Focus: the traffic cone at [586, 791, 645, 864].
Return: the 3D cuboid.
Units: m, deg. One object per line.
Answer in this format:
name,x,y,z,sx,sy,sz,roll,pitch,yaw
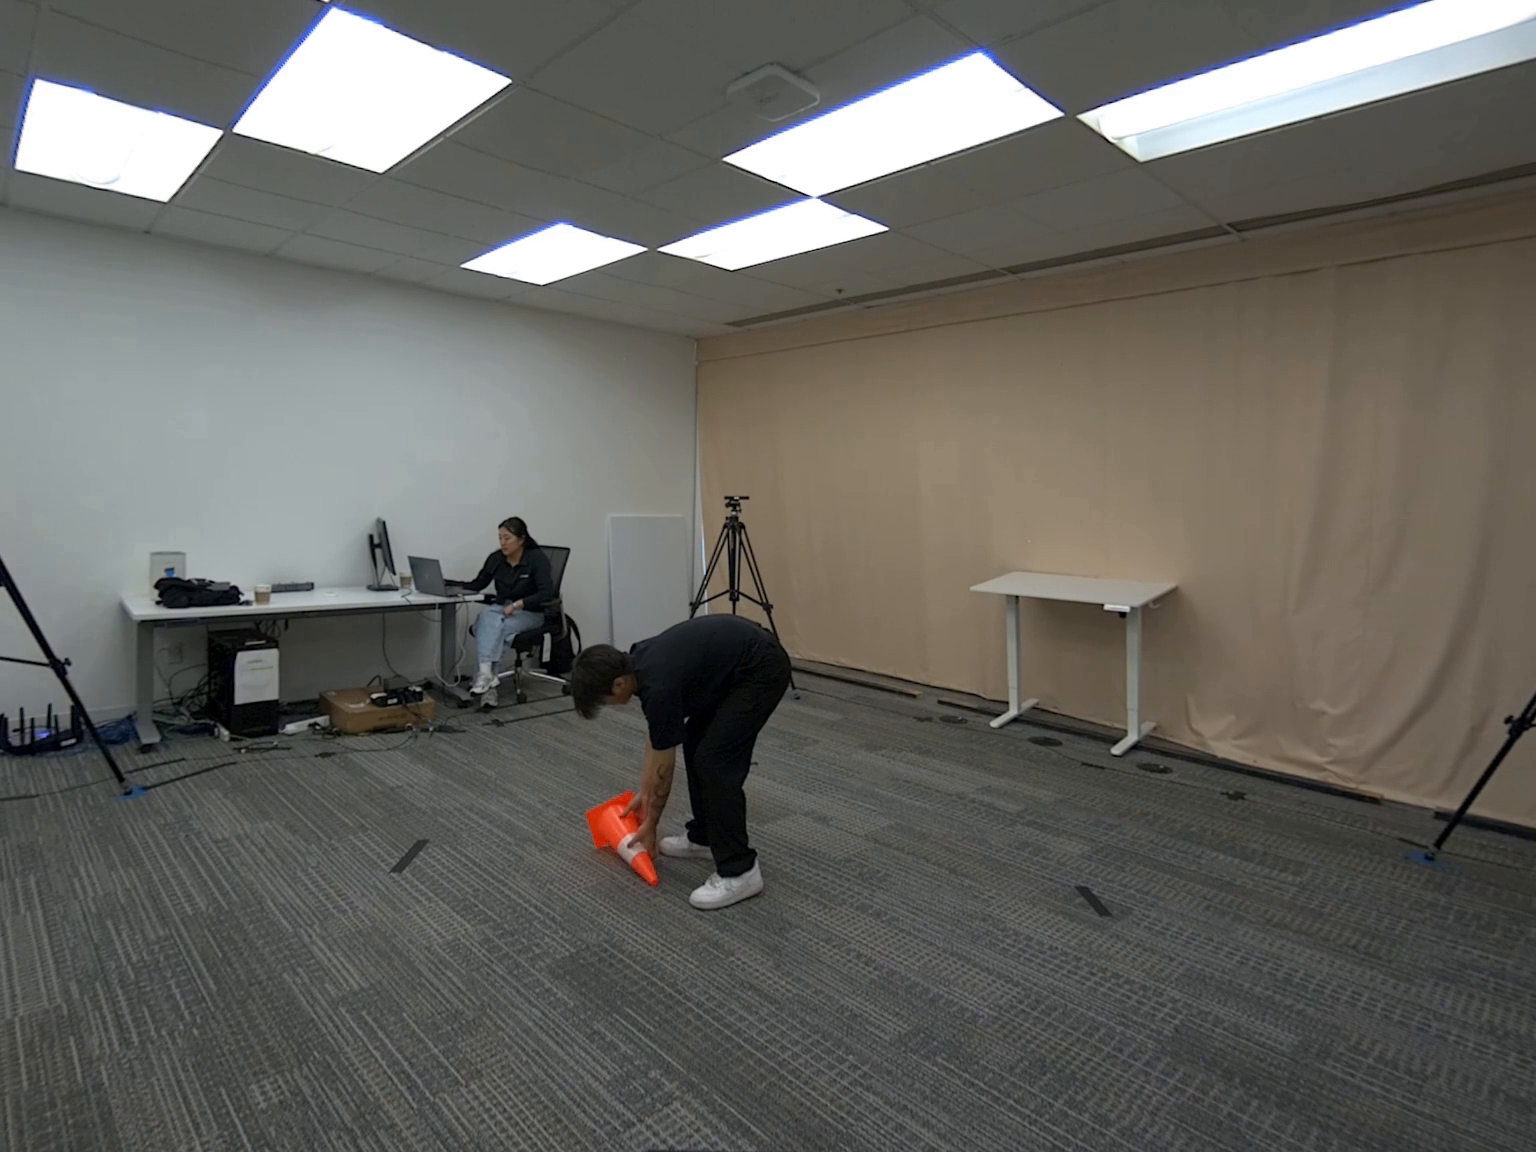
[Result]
traffic cone,-0.525,1.030,3.154,0.203,0.199,0.395,-22,29,-21
